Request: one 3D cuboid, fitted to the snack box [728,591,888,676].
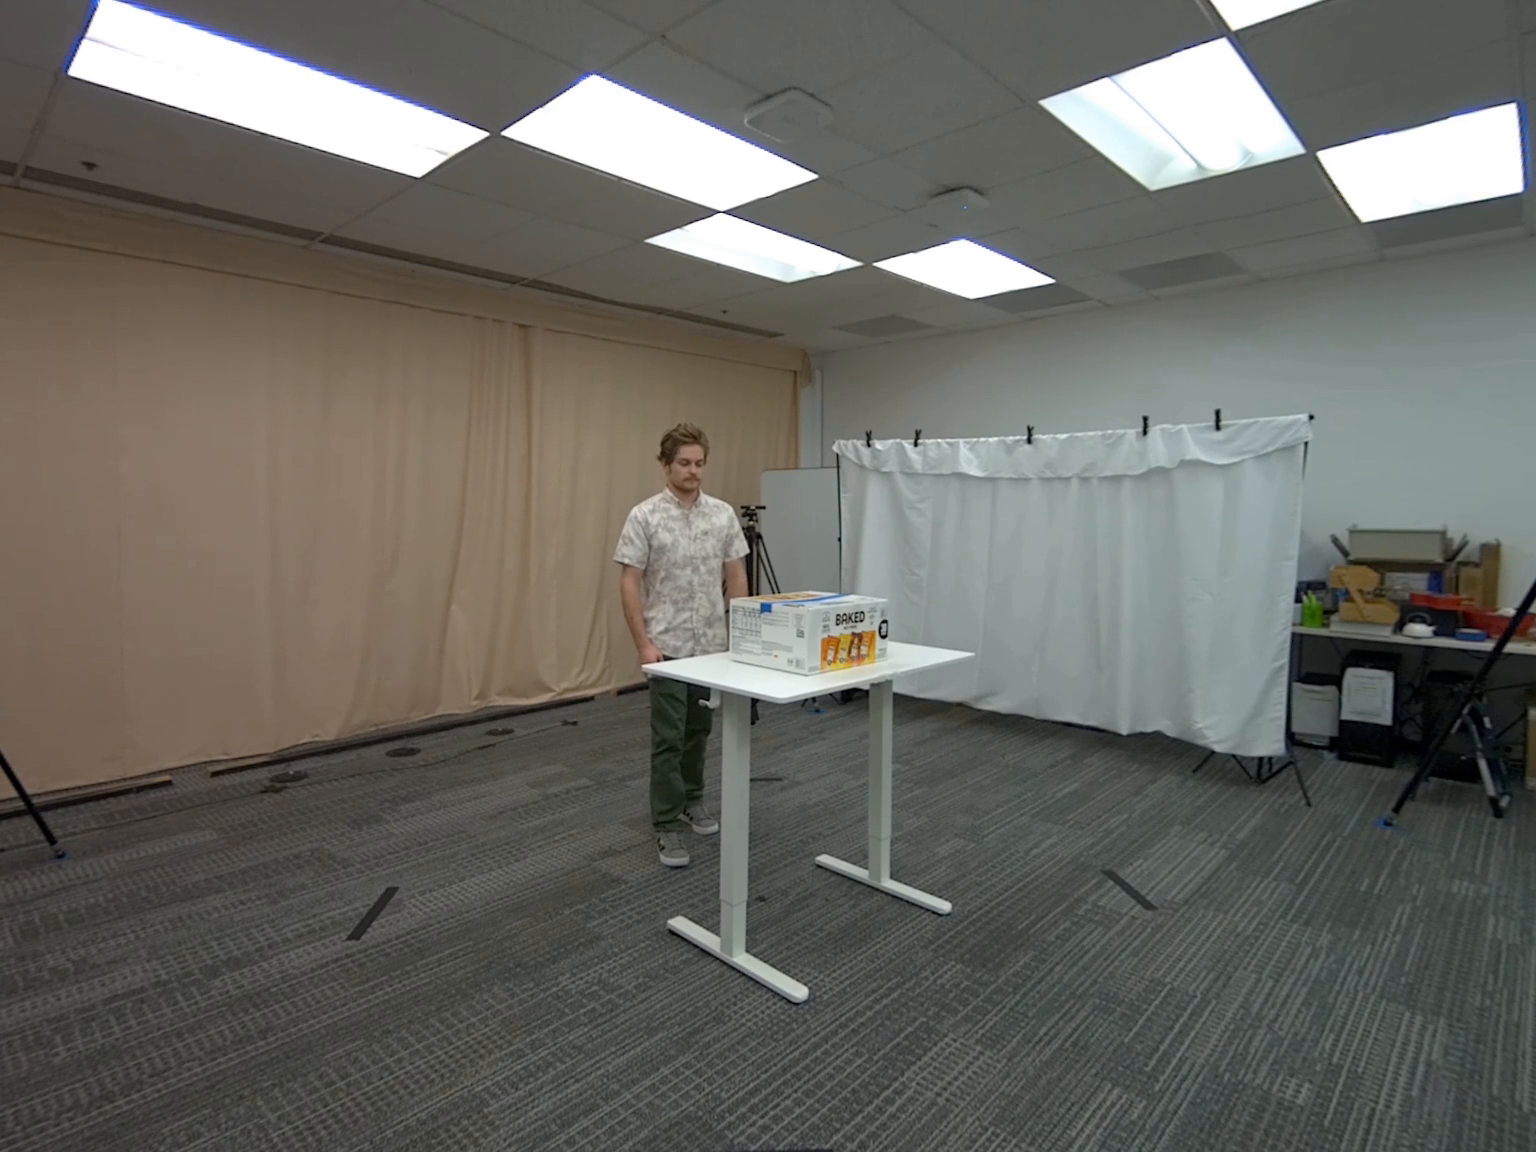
[{"bbox_3d":[0.141,0.177,2.751,0.393,0.205,0.352,-4,6,-45],"label":"snack box"}]
